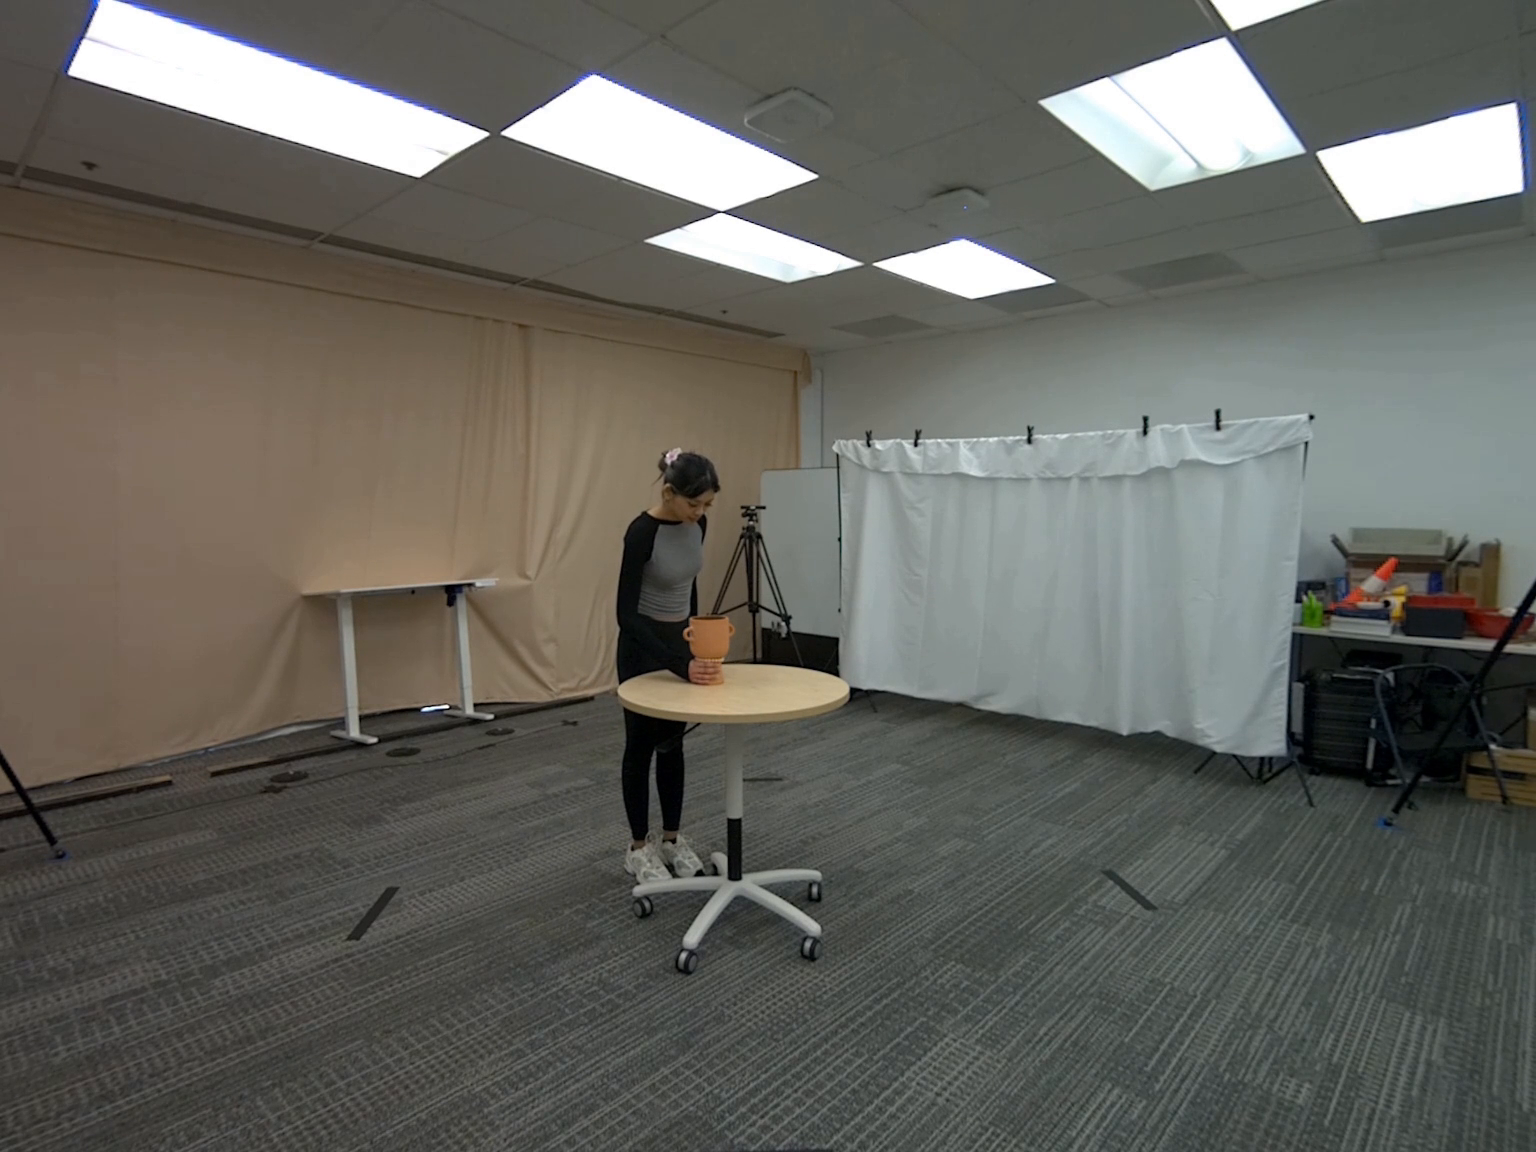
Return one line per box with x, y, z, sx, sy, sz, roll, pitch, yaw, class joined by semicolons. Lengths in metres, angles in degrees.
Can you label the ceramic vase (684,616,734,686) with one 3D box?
-0.200;0.252;2.855;0.160;0.219;0.134;1;4;7;ceramic vase
